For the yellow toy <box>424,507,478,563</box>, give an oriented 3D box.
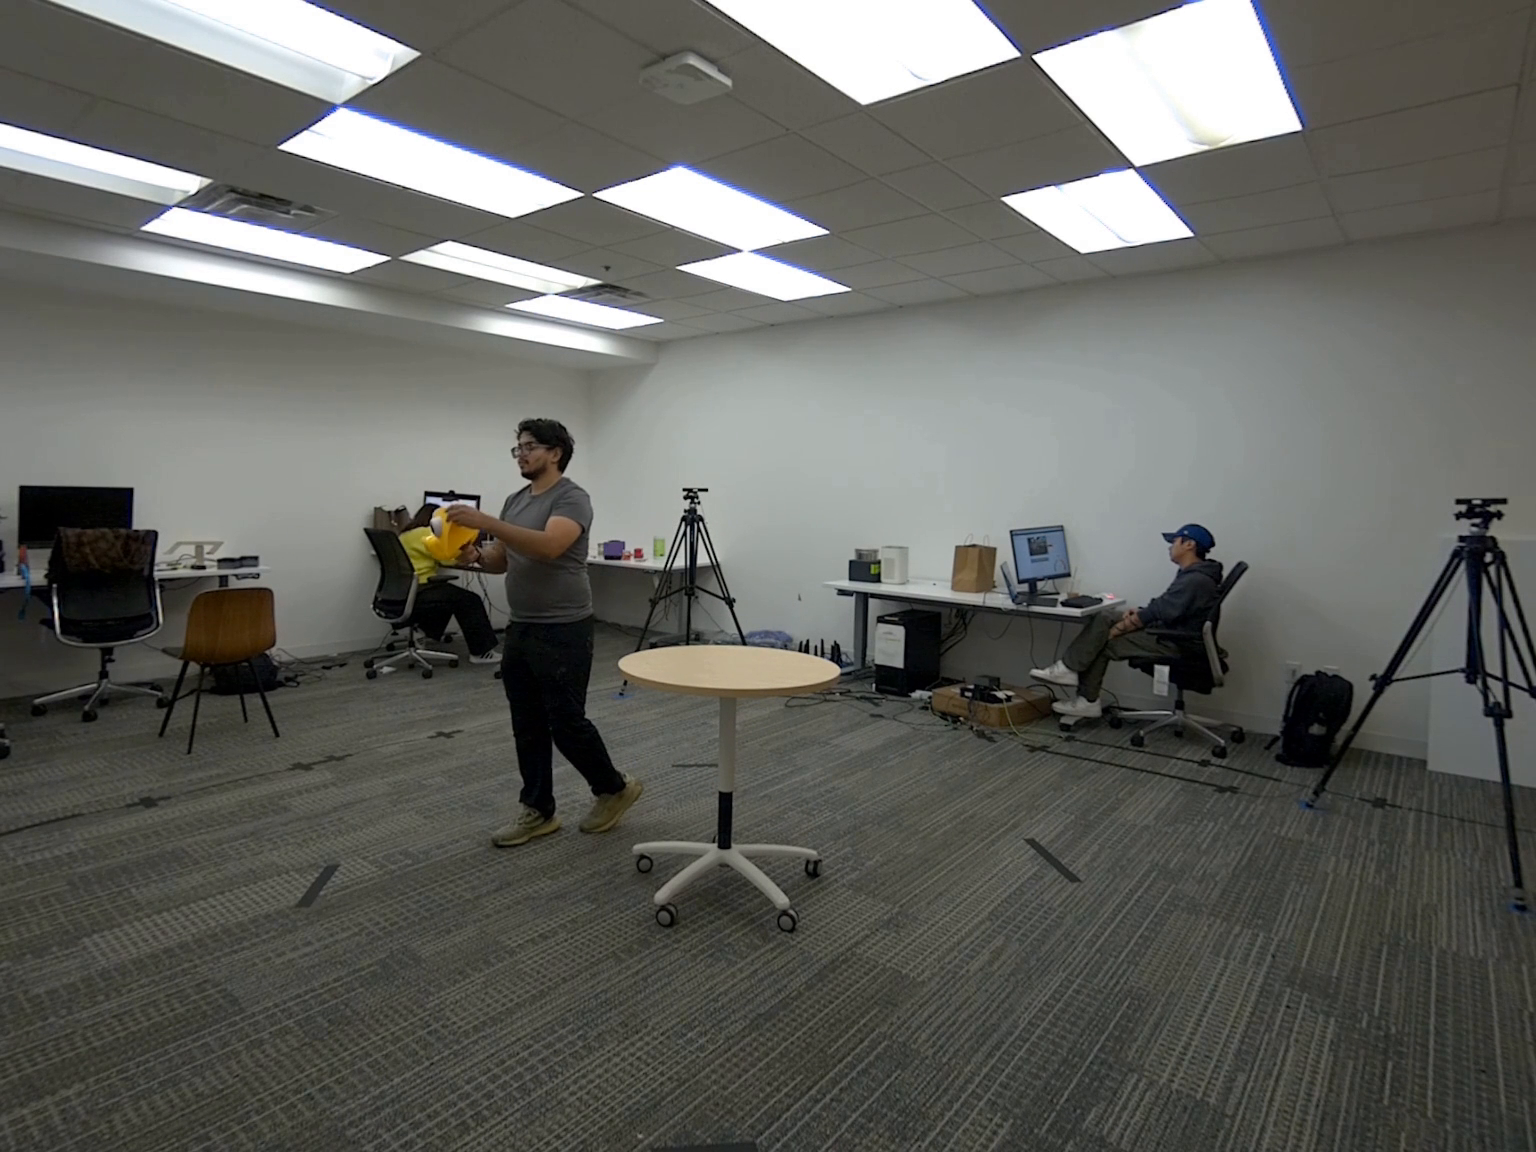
[{"bbox_3d":[-1.171,-0.204,3.088,0.197,0.205,0.226,31,-33,13],"label":"yellow toy"}]
